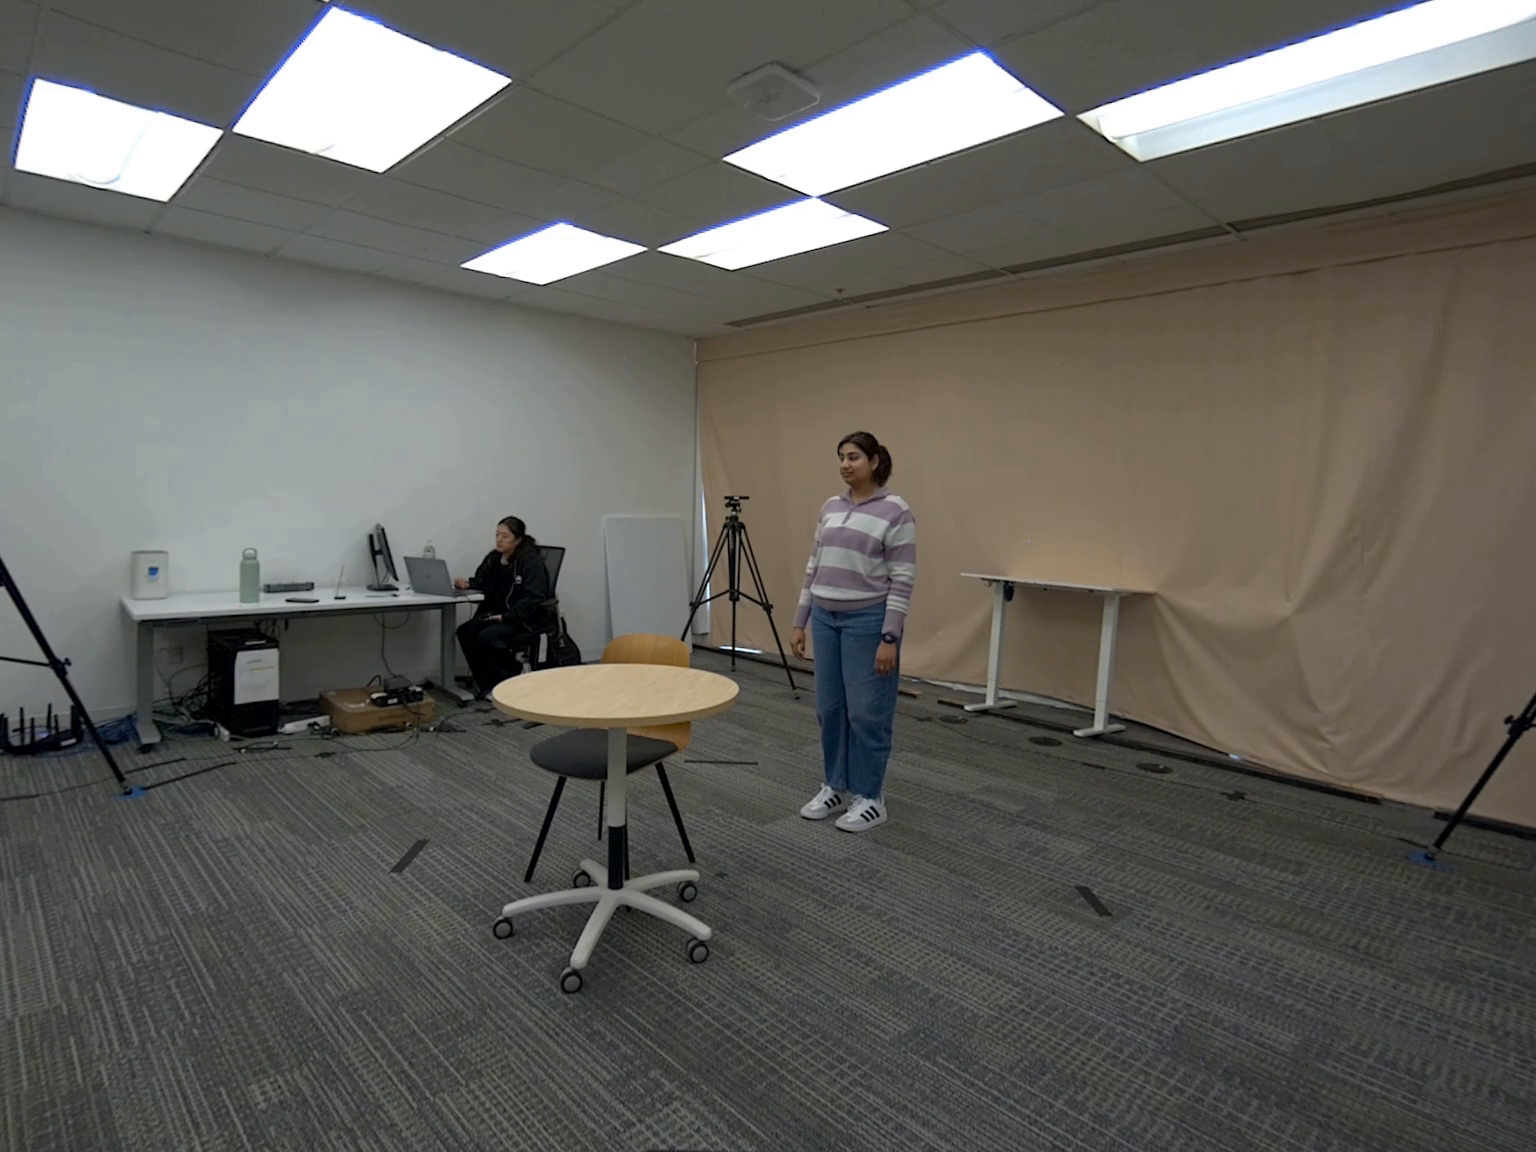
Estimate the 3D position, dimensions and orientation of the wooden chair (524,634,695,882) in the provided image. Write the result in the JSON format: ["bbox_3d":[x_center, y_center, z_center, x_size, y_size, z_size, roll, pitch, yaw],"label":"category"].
[{"bbox_3d":[-0.568,0.673,3.068,0.488,0.877,0.512,3,0,26],"label":"wooden chair"}]
